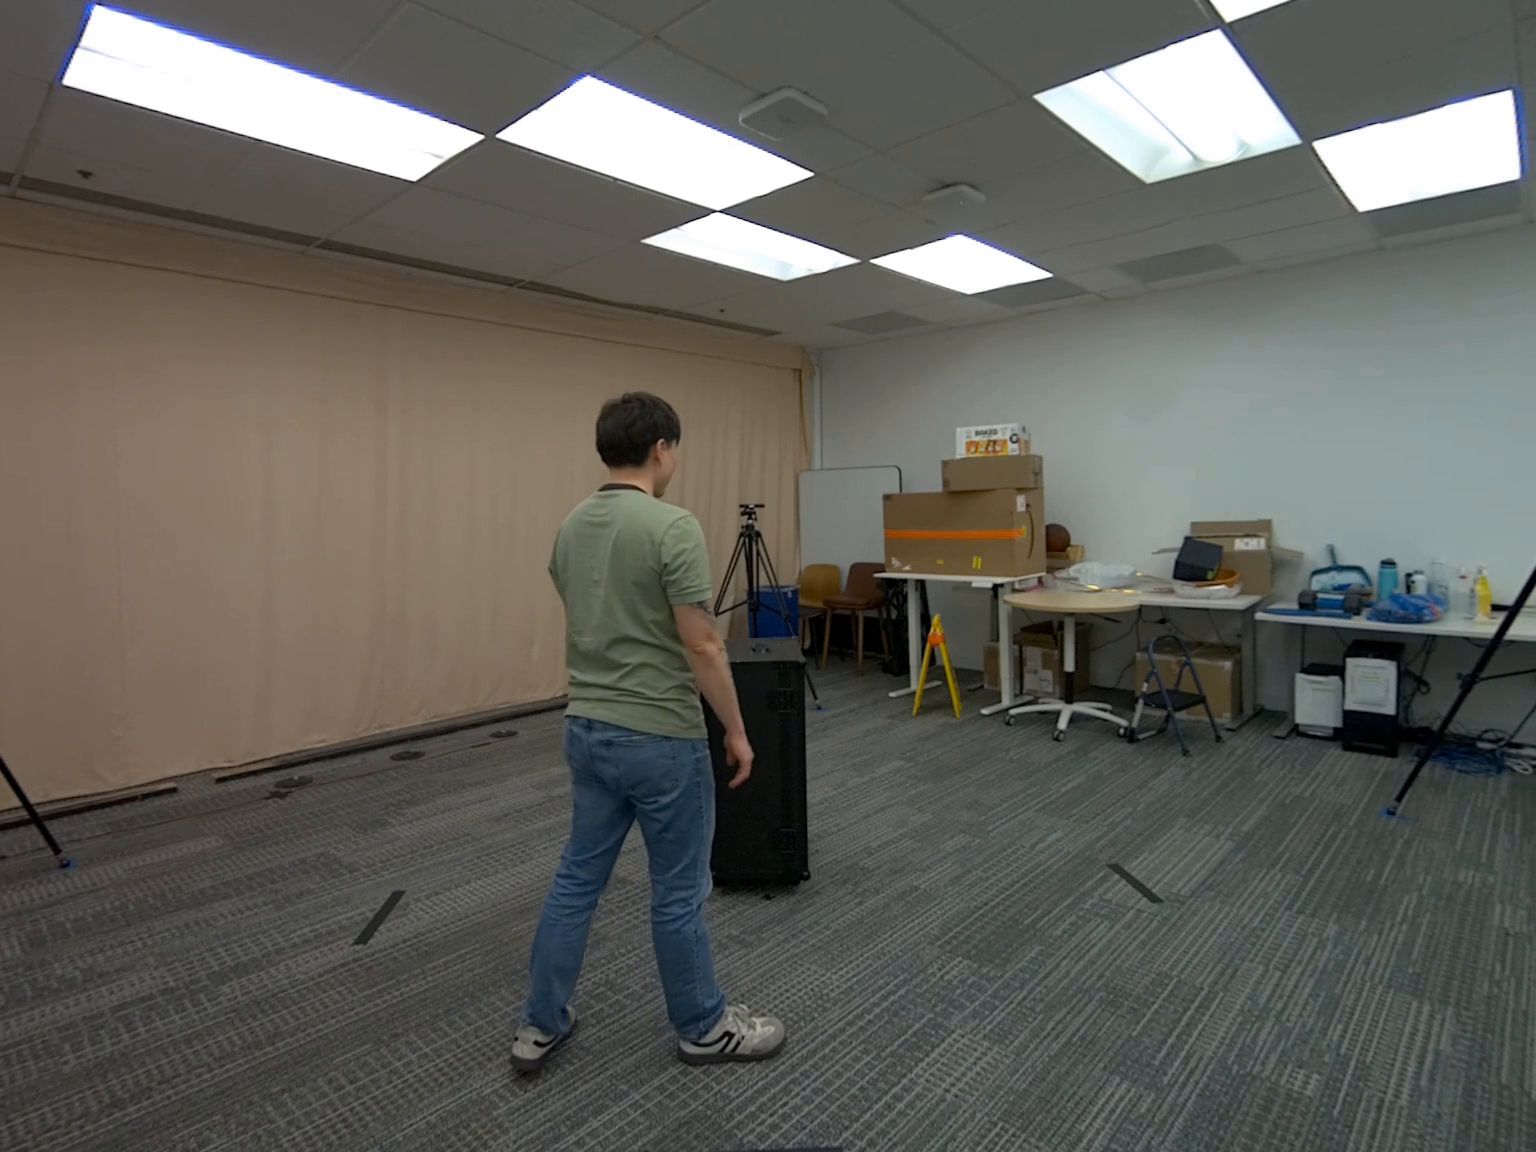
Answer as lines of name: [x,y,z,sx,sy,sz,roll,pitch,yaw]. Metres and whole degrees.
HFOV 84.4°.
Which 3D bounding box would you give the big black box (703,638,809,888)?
big black box: [-0.046,0.701,3.180,0.397,0.859,0.521,-1,4,2]
